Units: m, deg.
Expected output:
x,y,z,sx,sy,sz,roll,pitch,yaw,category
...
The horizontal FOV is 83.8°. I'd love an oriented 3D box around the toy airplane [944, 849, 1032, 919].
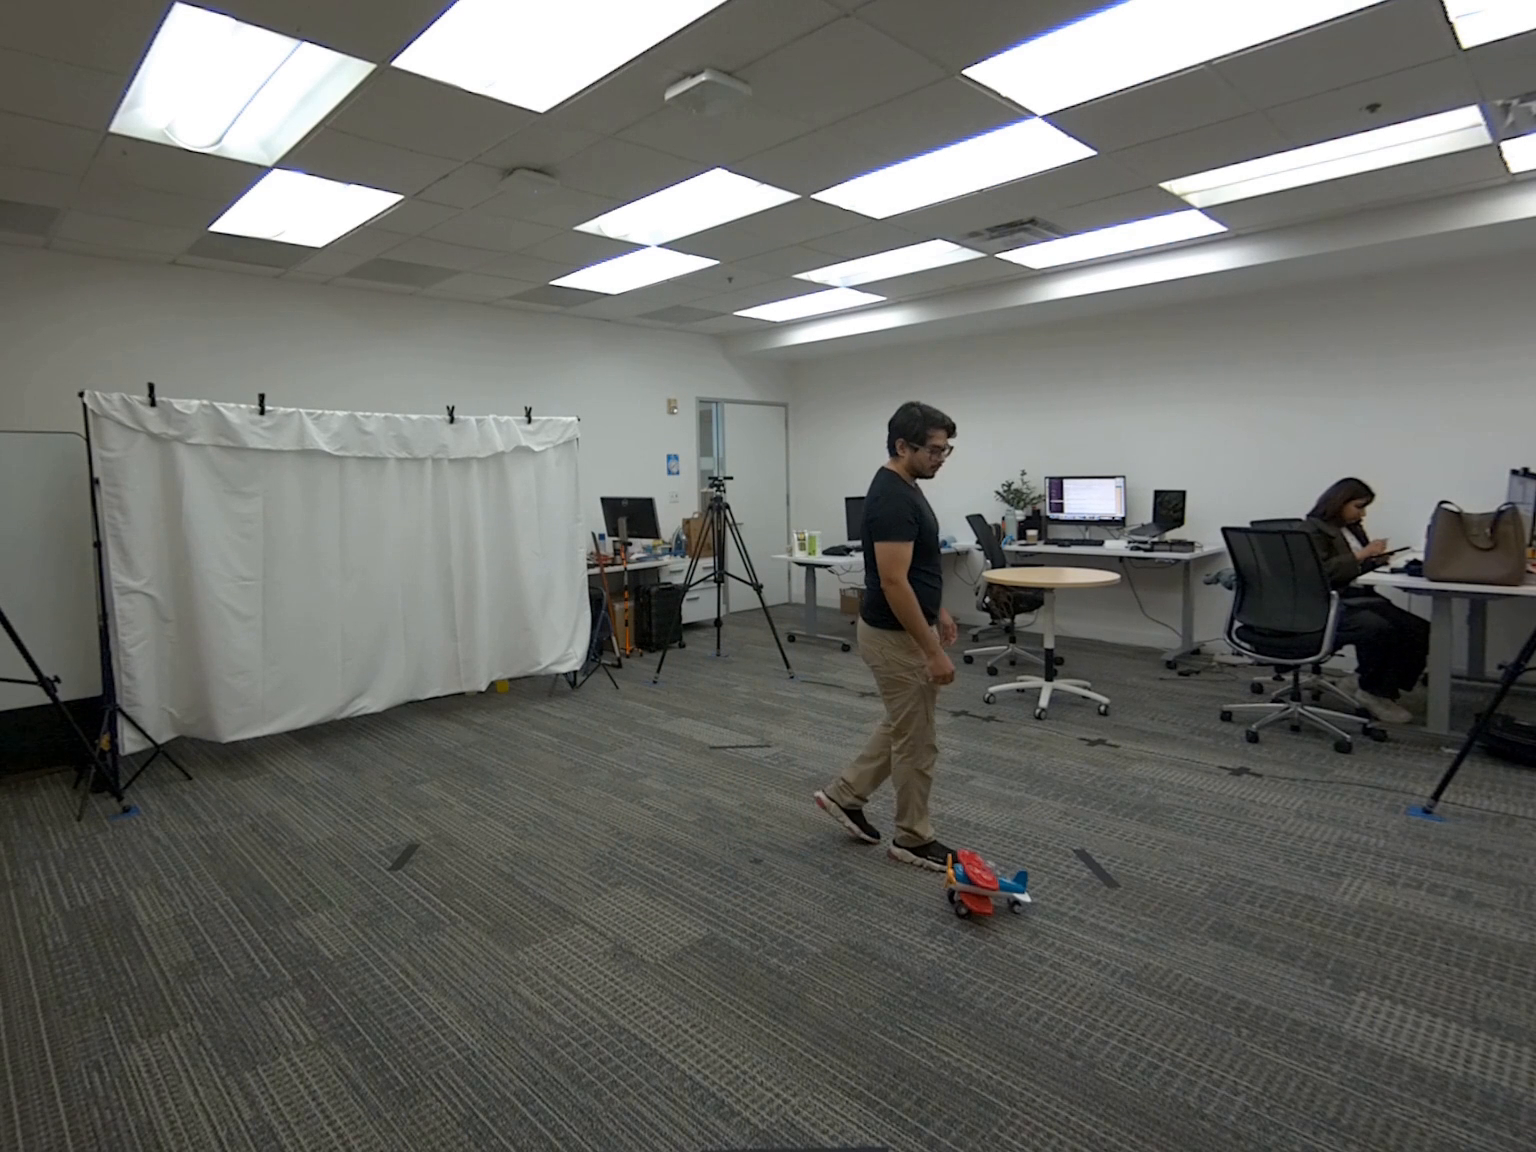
x,y,z,sx,sy,sz,roll,pitch,yaw,category
0.694,0.991,2.735,0.253,0.156,0.258,-5,7,-29,toy airplane
